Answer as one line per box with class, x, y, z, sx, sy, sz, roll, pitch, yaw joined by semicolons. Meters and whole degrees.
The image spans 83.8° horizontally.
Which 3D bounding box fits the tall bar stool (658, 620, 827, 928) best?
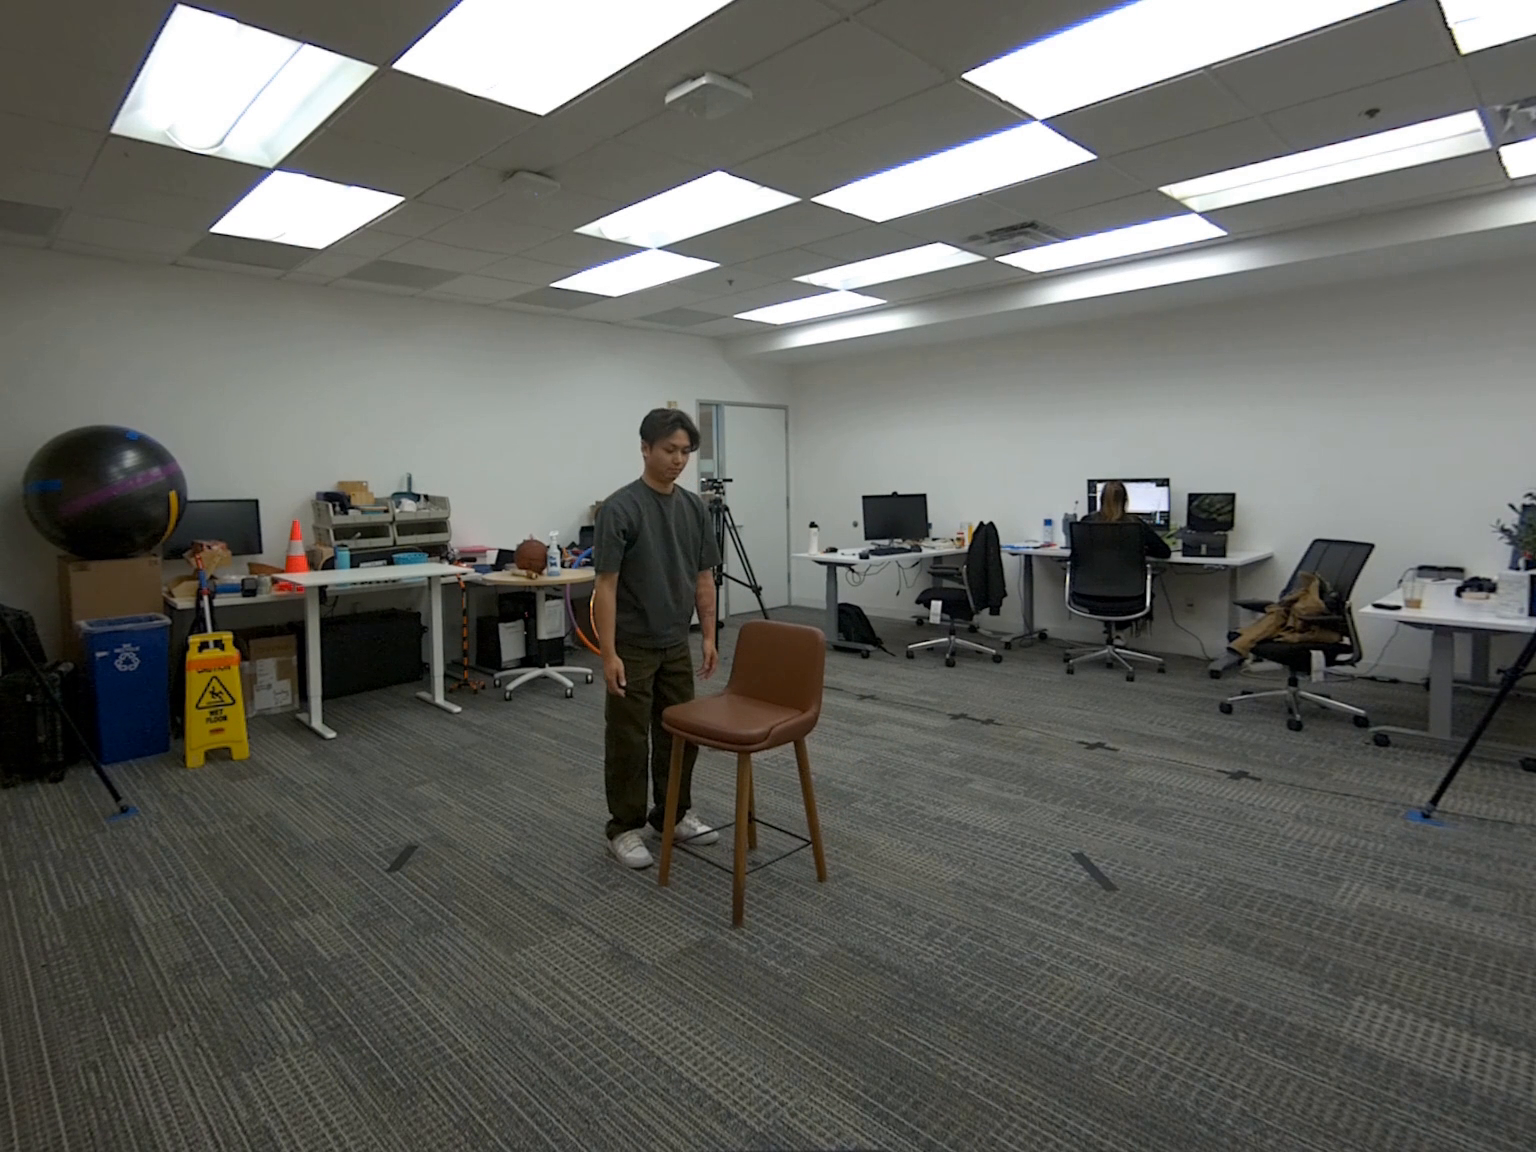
tall bar stool;-0.078;0.631;2.925;0.455;0.887;0.471;-3;5;-44
